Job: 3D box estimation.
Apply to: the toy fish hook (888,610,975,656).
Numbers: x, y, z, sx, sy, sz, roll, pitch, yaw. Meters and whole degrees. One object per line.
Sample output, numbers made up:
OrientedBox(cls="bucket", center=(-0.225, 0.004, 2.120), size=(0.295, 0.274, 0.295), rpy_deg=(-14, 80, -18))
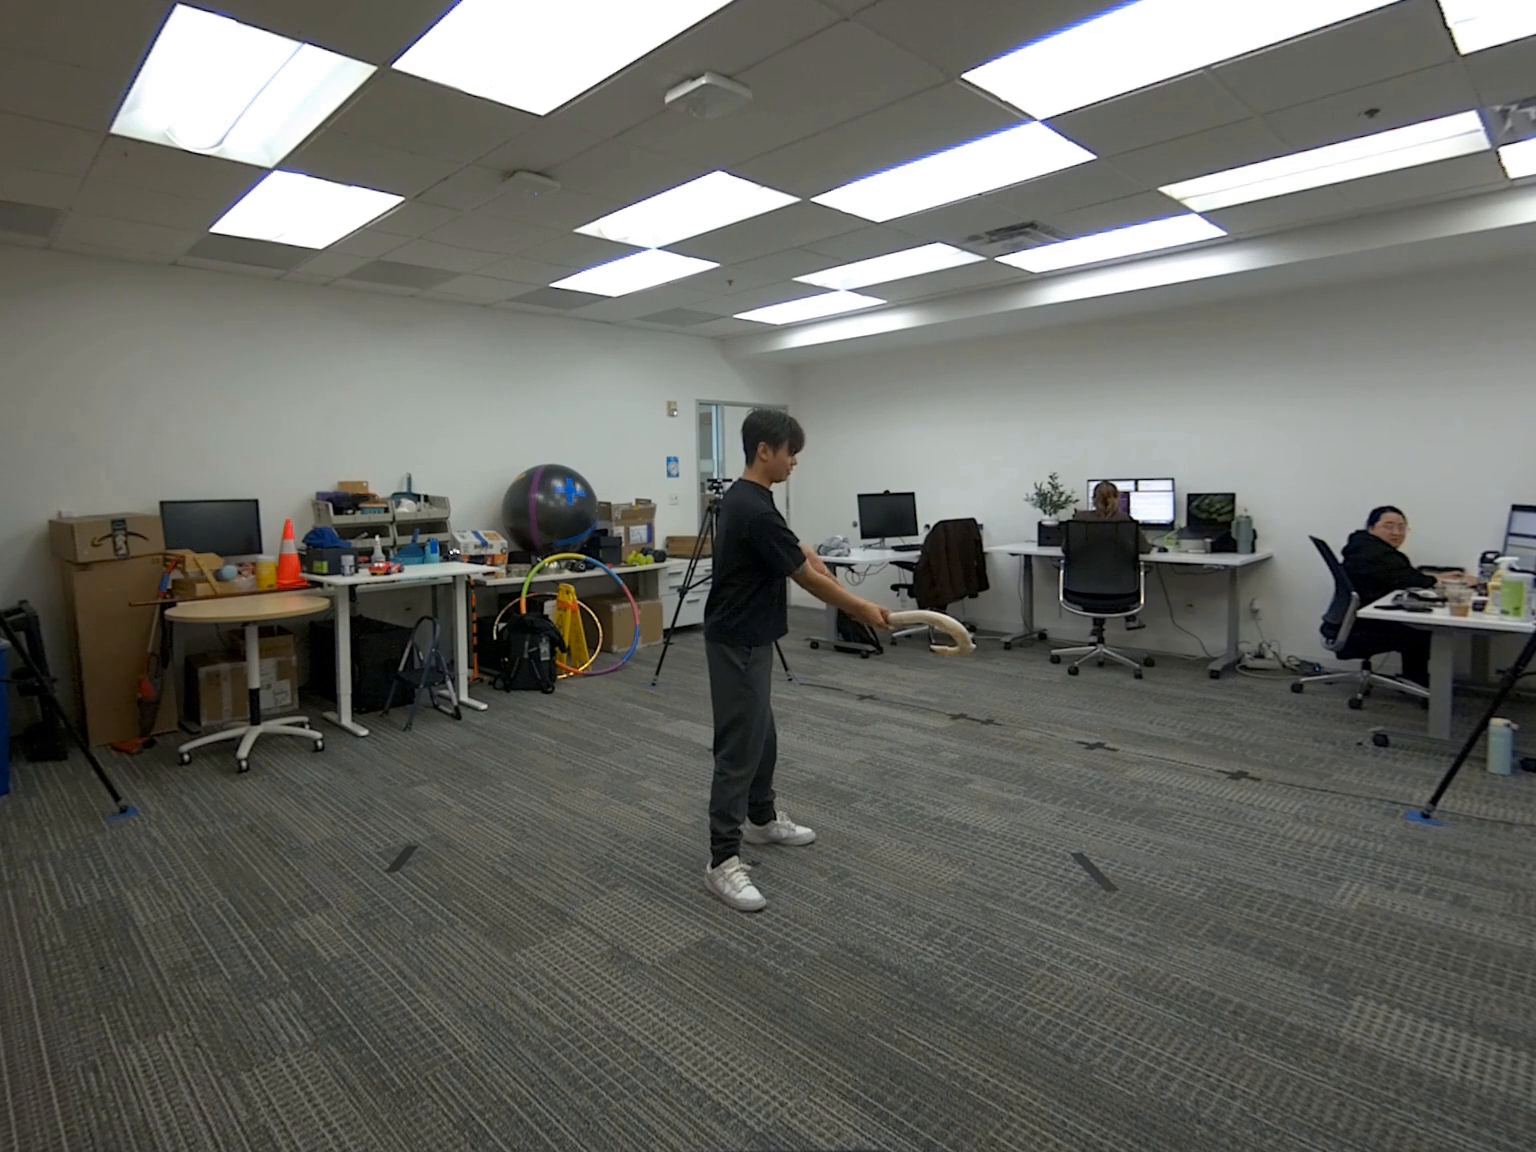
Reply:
OrientedBox(cls="toy fish hook", center=(0.486, 0.187, 3.042), size=(0.522, 0.217, 0.048), rpy_deg=(6, 46, 47))
